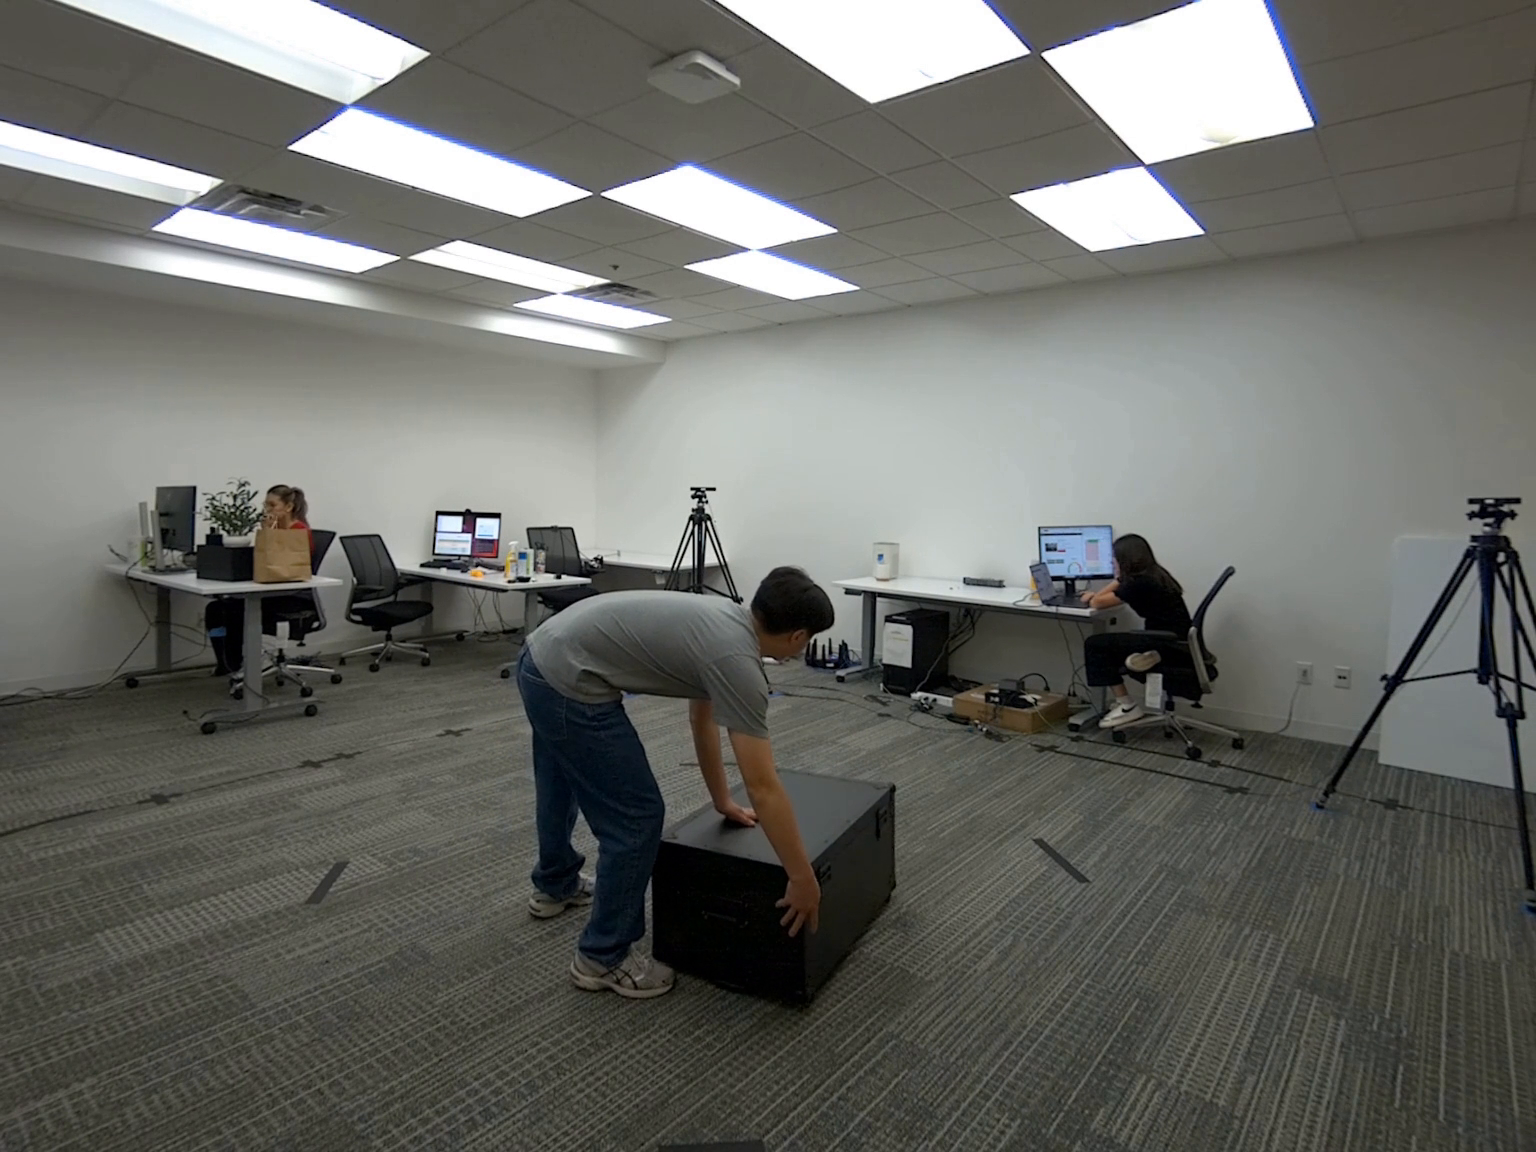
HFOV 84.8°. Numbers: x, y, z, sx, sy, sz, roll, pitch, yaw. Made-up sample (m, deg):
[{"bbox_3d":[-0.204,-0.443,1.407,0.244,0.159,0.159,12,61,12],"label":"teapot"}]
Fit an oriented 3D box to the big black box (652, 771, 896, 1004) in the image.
[{"bbox_3d":[0.059,0.918,2.701,0.535,0.395,0.842,1,5,27],"label":"big black box"}]
